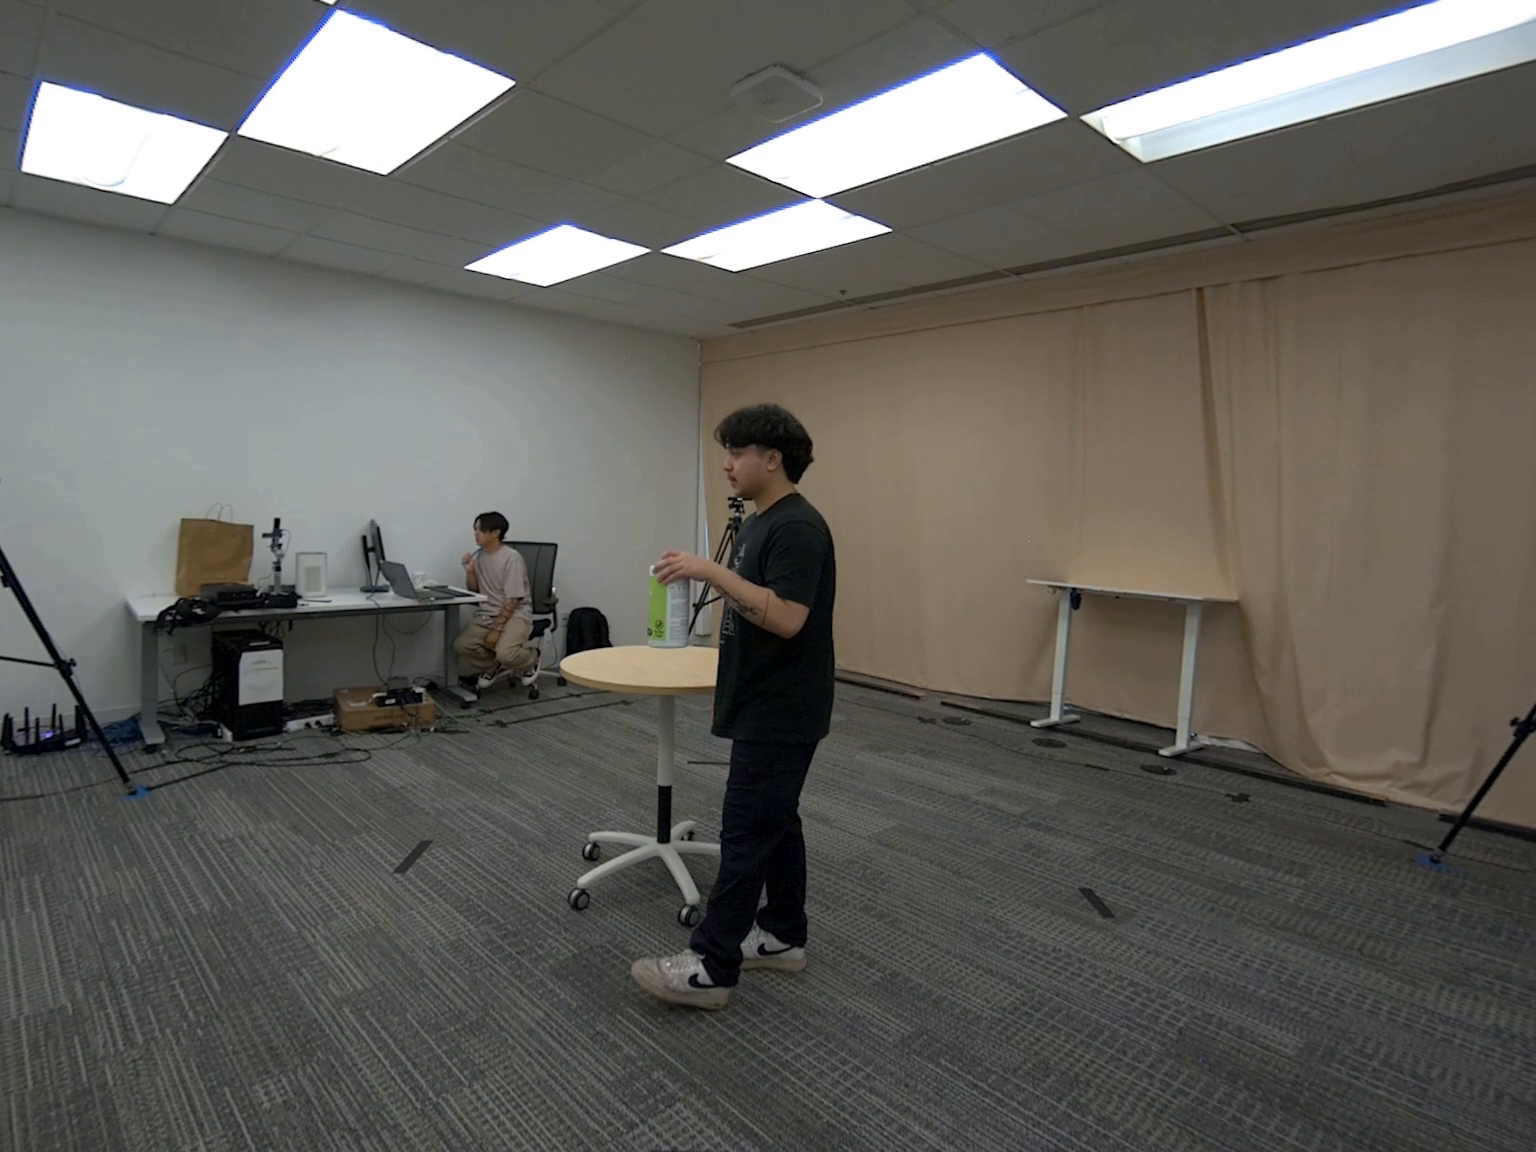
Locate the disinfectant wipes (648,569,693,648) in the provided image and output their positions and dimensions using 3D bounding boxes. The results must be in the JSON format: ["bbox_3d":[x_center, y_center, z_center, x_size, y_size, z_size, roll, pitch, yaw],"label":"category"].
[{"bbox_3d":[-0.265,0.081,2.243,0.118,0.217,0.118,0,-1,-1],"label":"disinfectant wipes"}]
